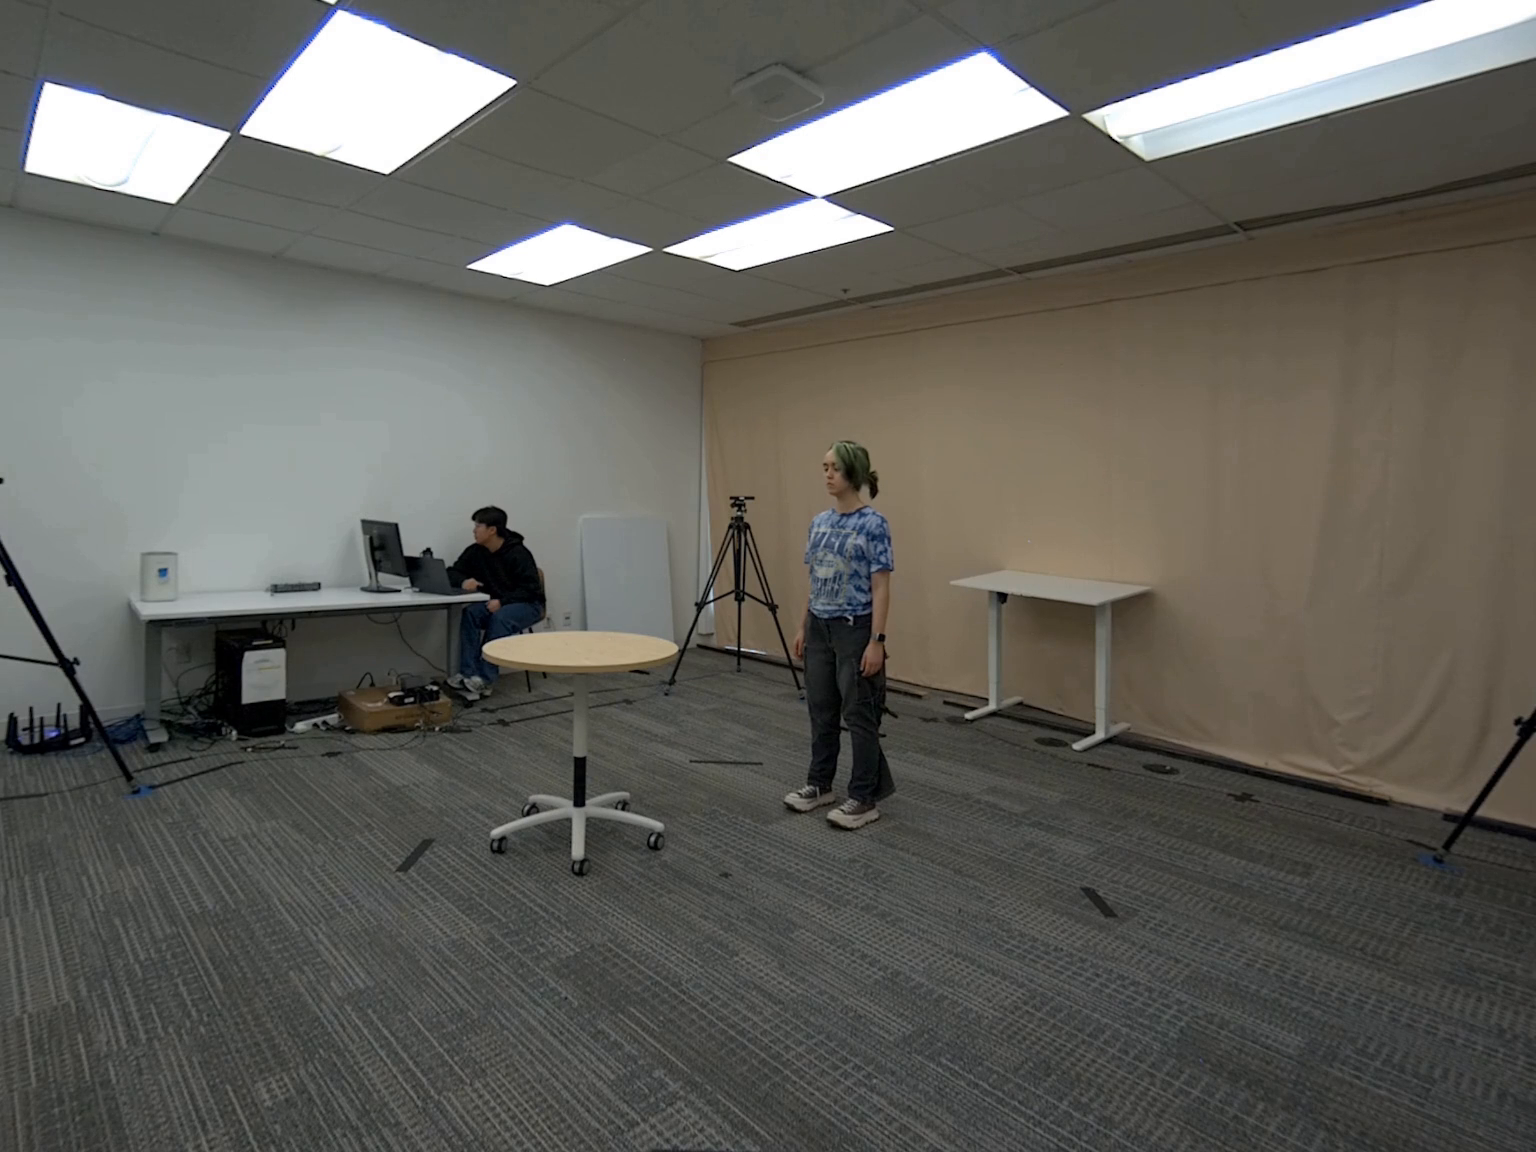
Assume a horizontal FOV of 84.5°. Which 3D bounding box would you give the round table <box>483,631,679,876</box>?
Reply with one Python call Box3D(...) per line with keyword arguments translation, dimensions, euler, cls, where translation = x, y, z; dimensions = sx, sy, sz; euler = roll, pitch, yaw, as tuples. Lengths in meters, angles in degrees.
Box3D(translation=(-0.757, 0.679, 3.368), dimensions=(0.763, 0.792, 0.766), euler=(1, 4, -1), cls="round table")
